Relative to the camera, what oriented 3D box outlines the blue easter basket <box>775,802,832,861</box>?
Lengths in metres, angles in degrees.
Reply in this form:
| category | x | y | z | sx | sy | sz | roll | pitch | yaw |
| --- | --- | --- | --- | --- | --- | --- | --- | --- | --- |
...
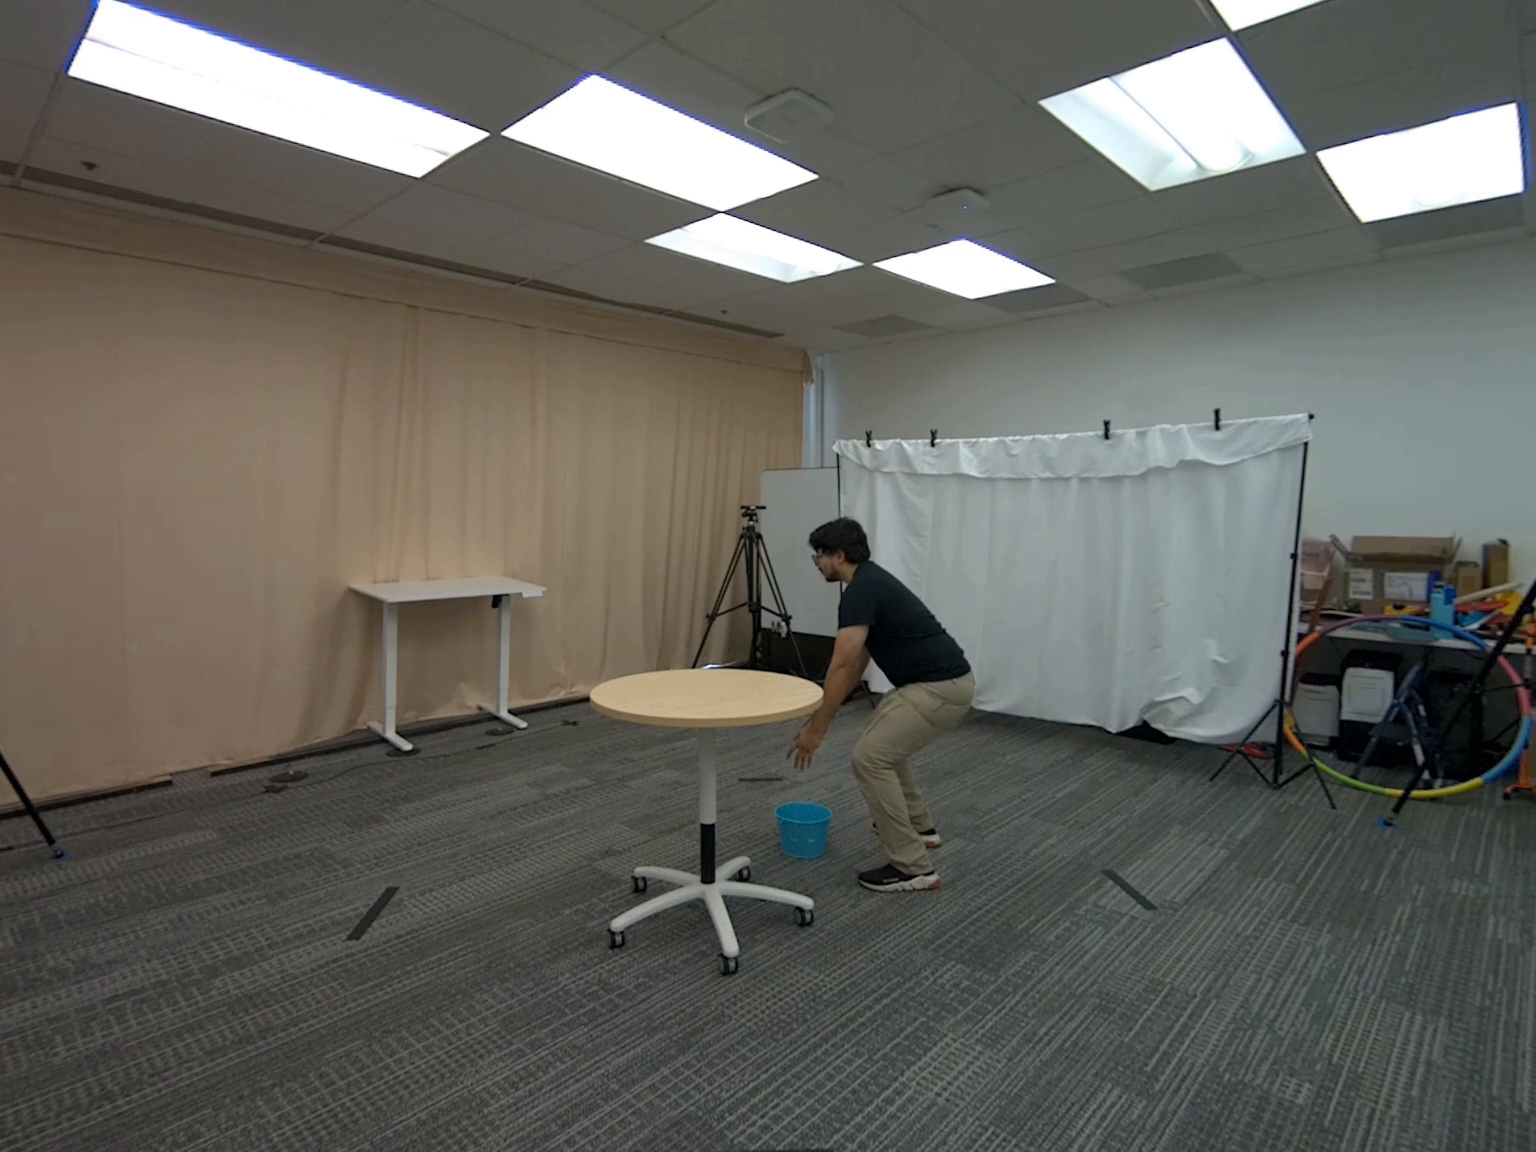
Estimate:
| category | x | y | z | sx | sy | sz | roll | pitch | yaw |
| --- | --- | --- | --- | --- | --- | --- | --- | --- | --- |
| blue easter basket | 0.143 | 1.026 | 3.414 | 0.243 | 0.155 | 0.244 | 0 | 5 | -2 |
